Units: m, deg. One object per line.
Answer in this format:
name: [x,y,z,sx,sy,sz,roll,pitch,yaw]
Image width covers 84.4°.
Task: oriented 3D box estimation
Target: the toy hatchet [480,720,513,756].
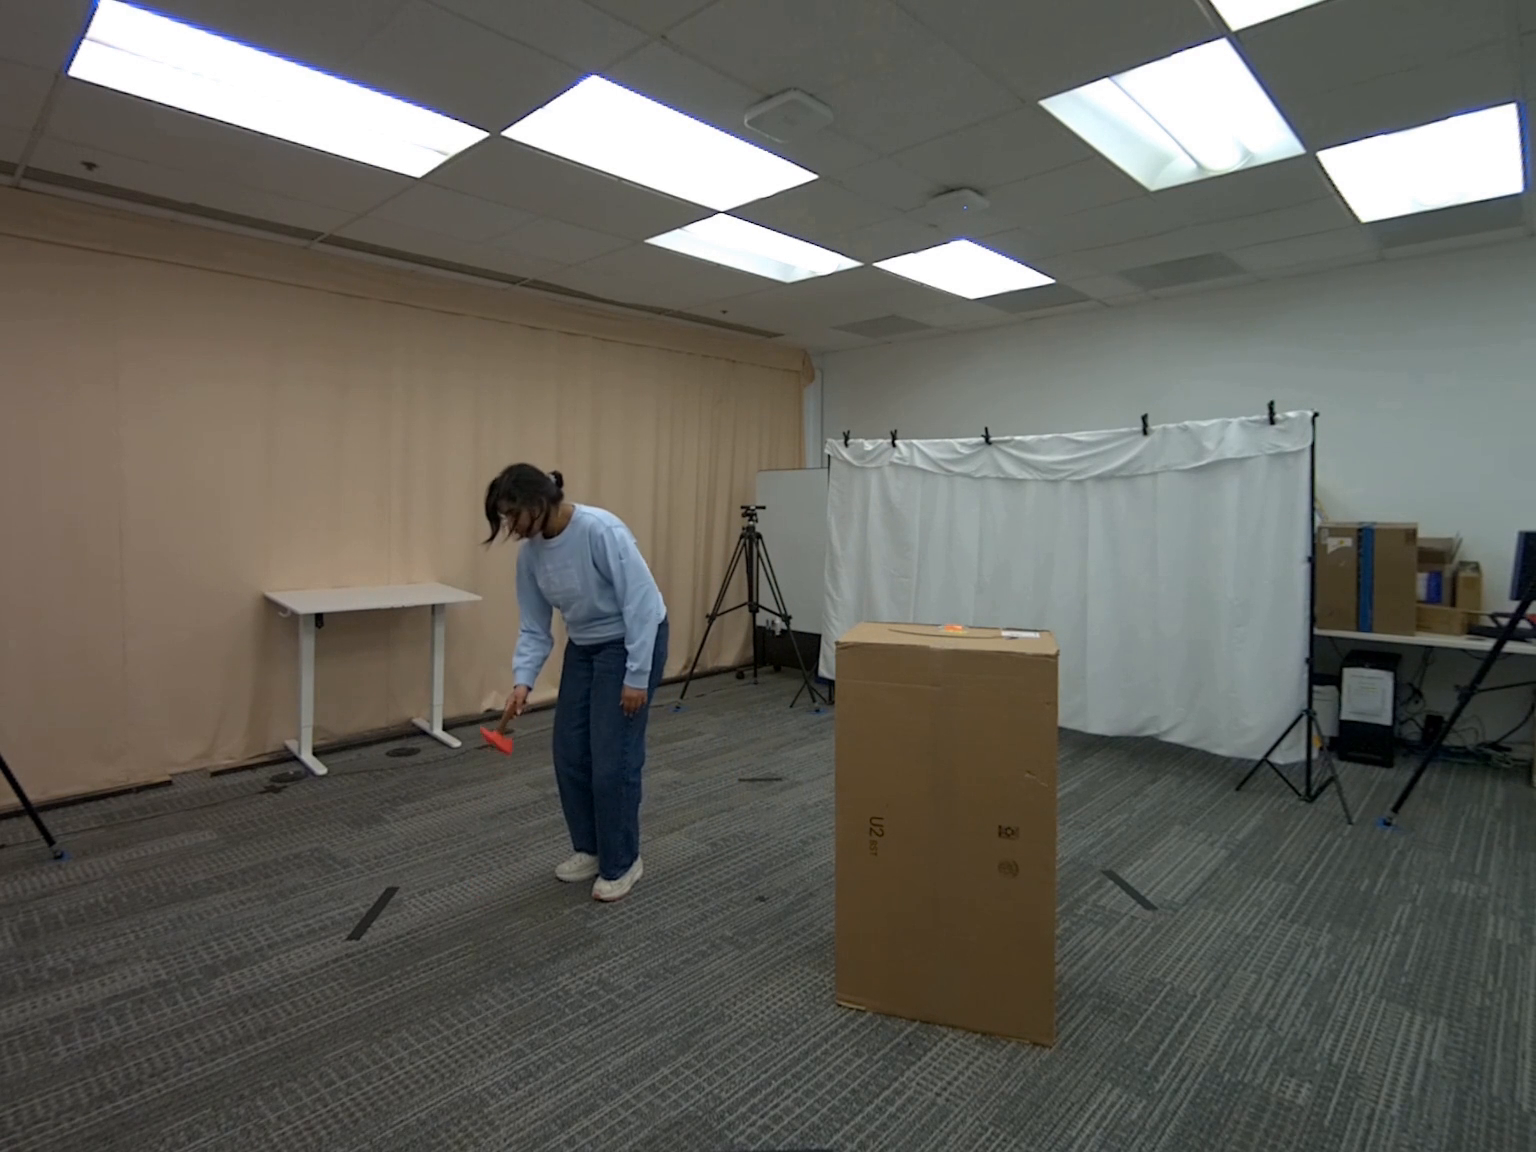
toy hatchet: [-0.874,0.523,2.863,0.030,0.132,0.267,-41,-3,19]
